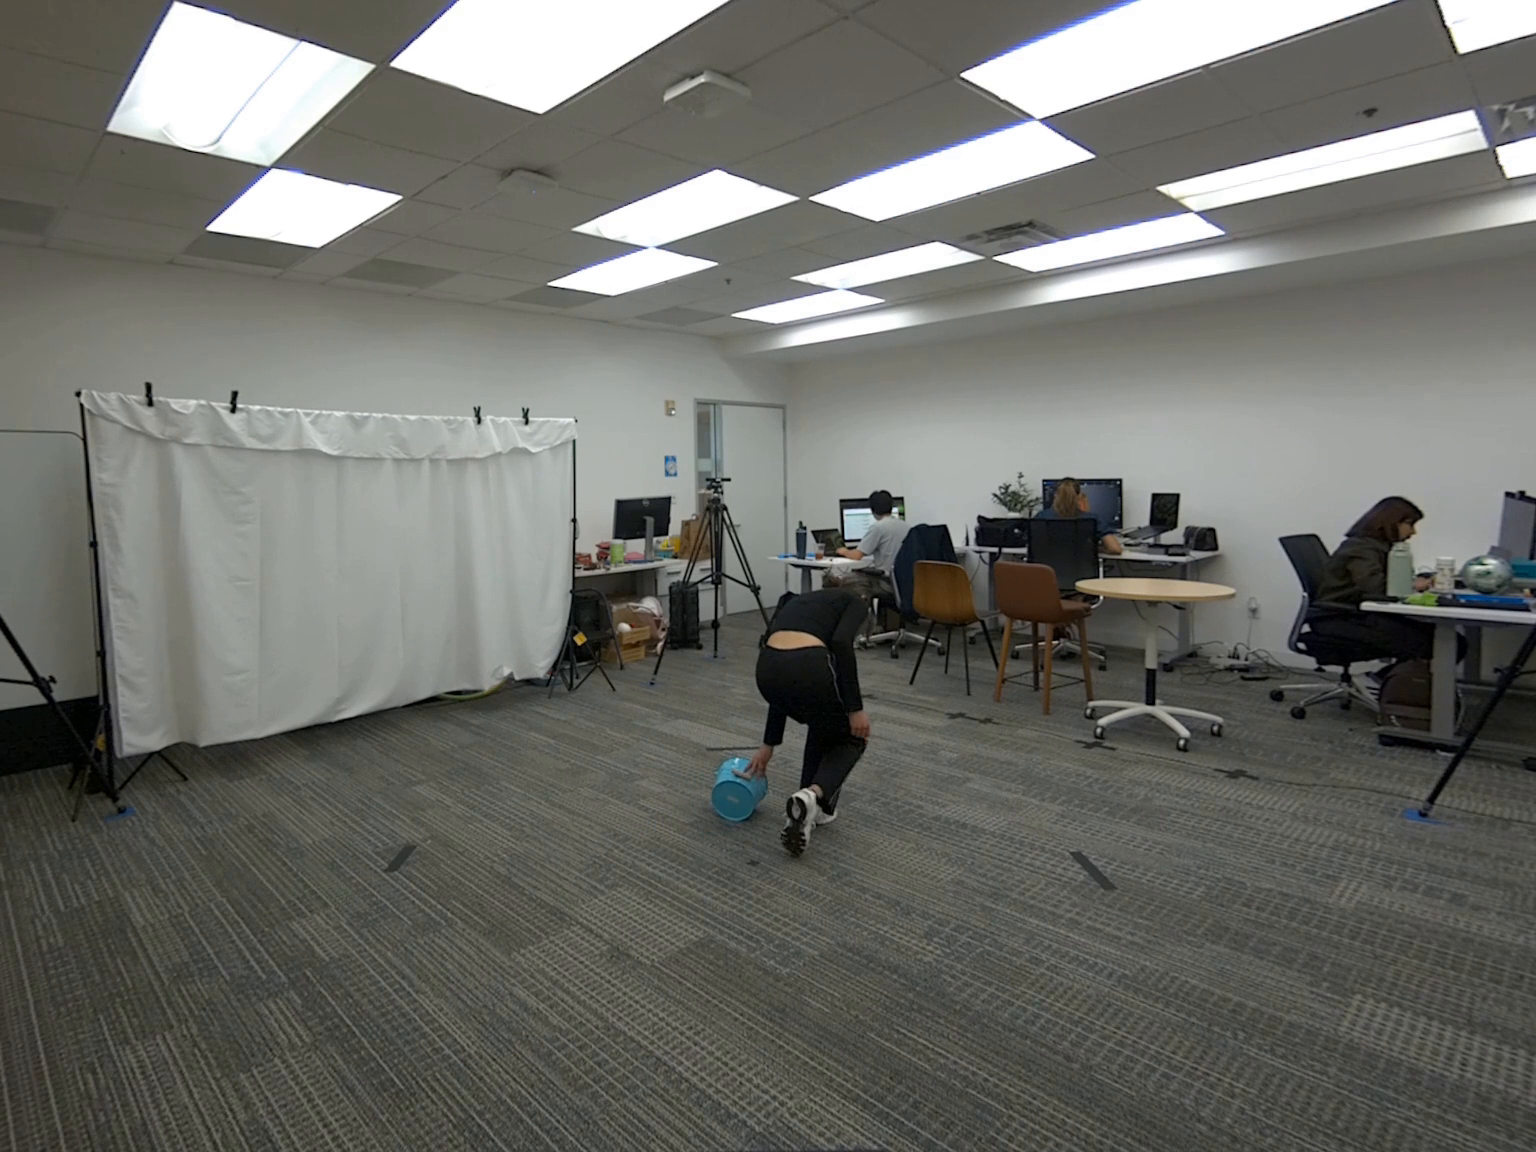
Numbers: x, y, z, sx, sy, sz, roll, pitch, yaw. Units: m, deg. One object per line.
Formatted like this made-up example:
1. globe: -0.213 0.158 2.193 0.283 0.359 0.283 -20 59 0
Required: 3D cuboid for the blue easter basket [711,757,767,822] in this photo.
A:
1. blue easter basket: -0.133 0.888 3.551 0.247 0.241 0.155 1 13 16
